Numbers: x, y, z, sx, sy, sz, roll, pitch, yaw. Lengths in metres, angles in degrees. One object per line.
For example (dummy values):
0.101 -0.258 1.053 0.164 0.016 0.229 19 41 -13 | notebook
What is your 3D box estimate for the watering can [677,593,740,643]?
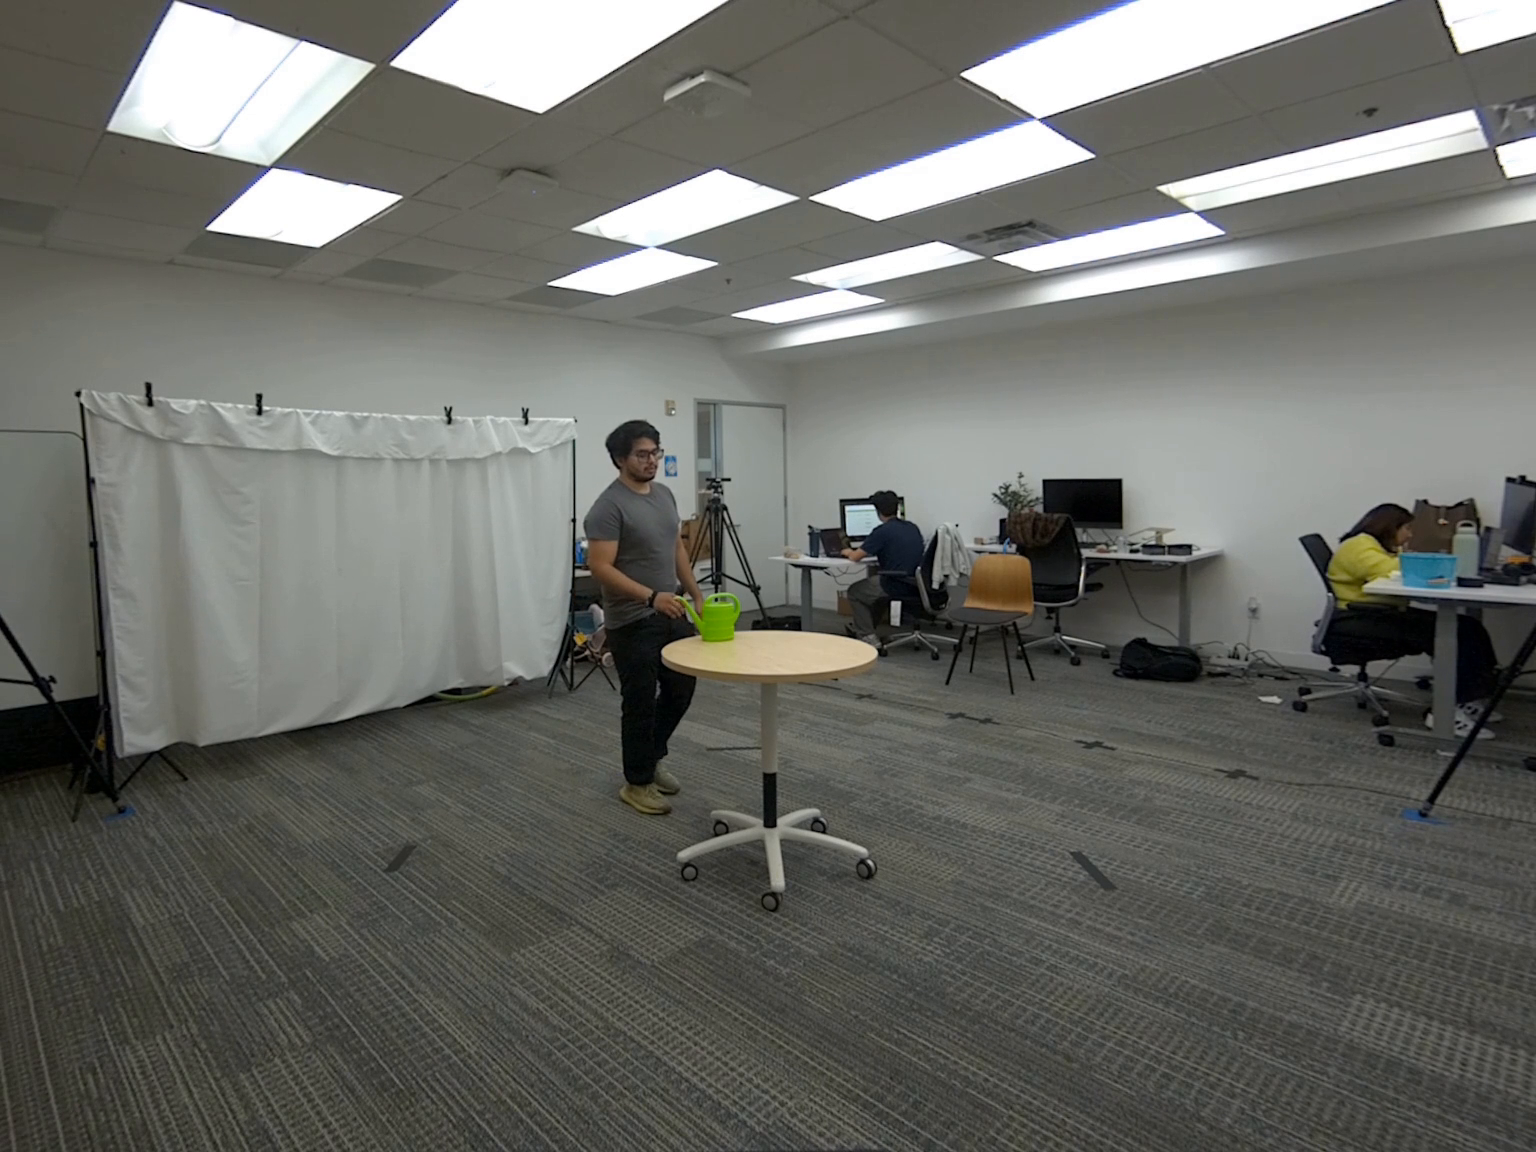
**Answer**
-0.232 0.156 3.237 0.274 0.176 0.099 0 3 -14 | watering can
